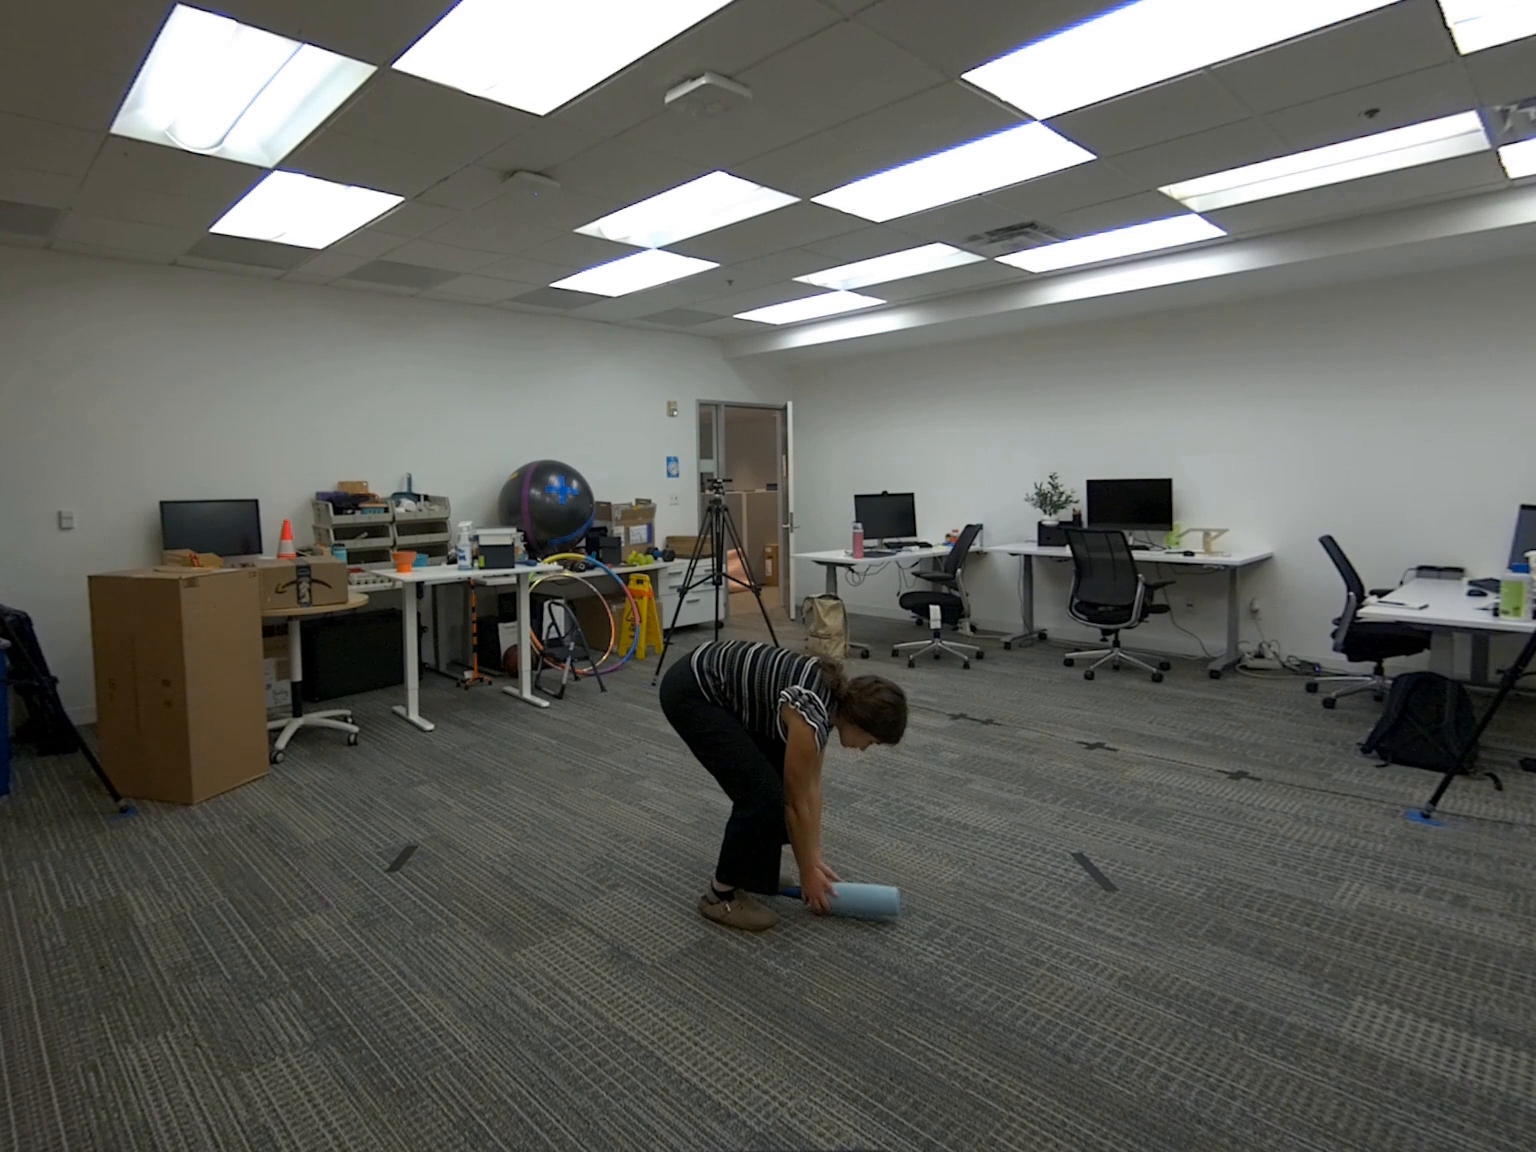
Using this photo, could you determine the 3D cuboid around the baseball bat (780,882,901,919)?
[{"bbox_3d":[0.164,1.027,2.758,0.552,0.089,0.088,-1,4,19],"label":"baseball bat"}]
